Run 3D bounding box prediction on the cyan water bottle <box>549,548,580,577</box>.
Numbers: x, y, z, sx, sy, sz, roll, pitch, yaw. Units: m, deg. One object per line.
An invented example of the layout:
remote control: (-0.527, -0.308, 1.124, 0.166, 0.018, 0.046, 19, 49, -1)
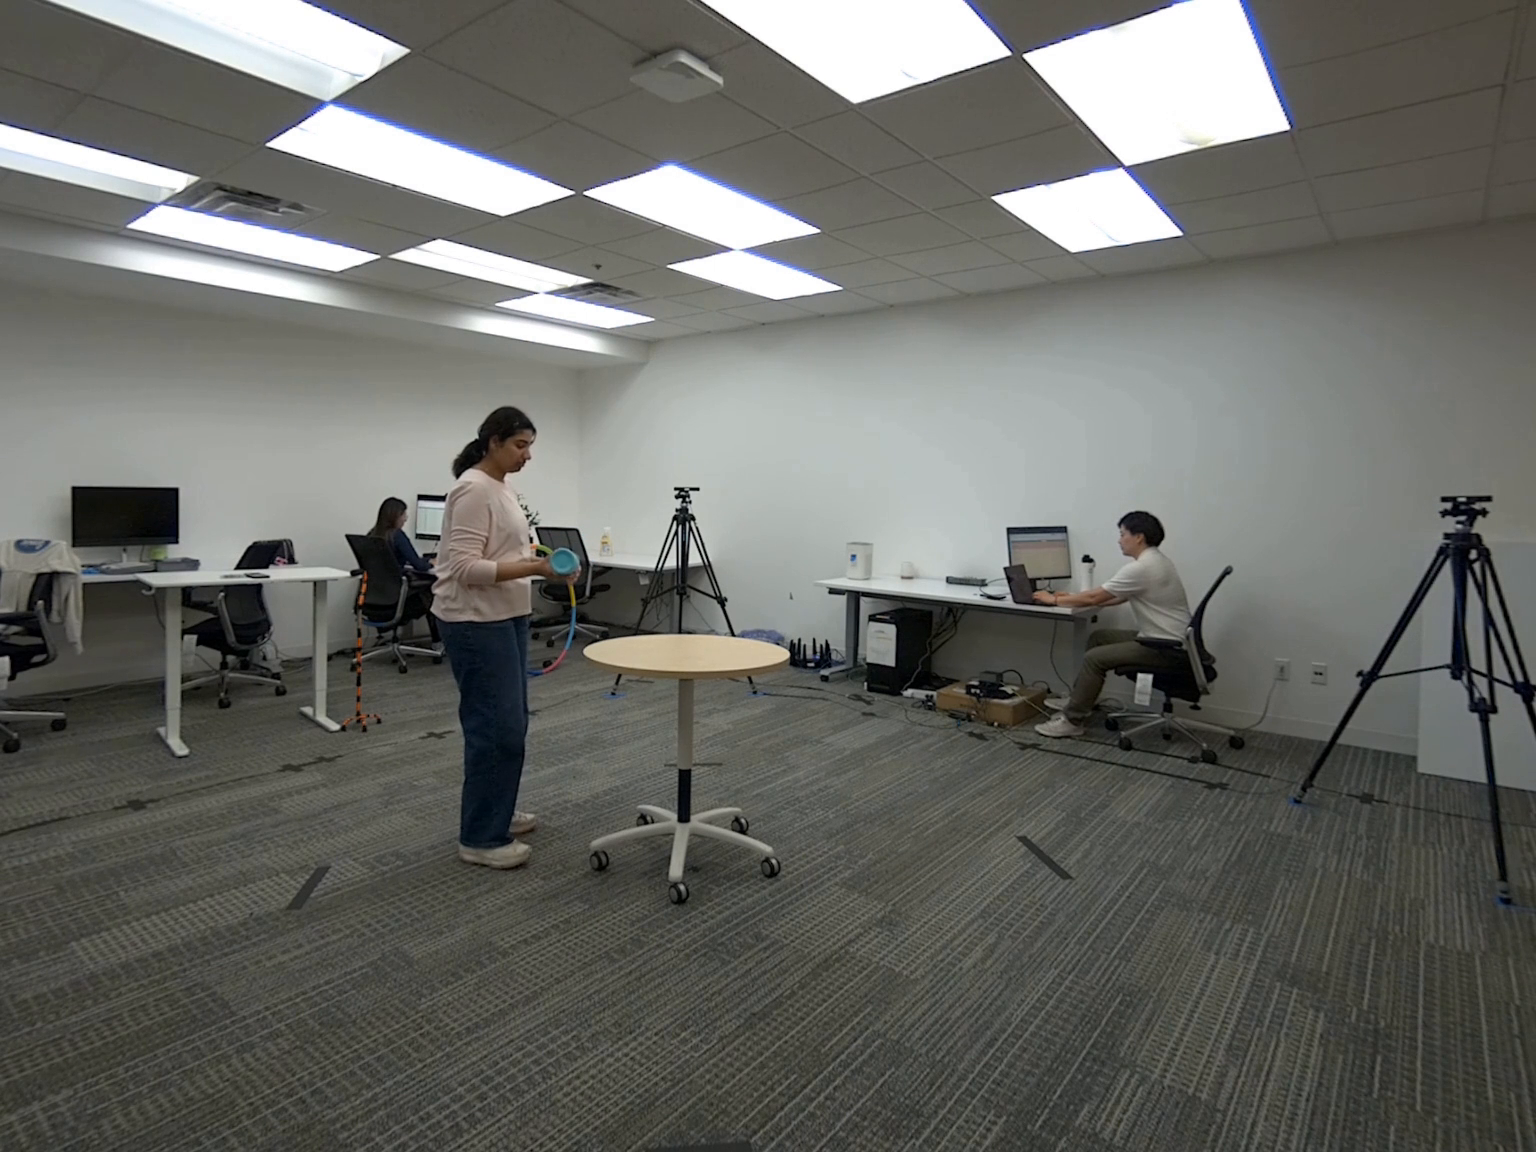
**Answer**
cyan water bottle: (-0.756, -0.050, 3.119, 0.092, 0.092, 0.284, 0, -1, -7)
